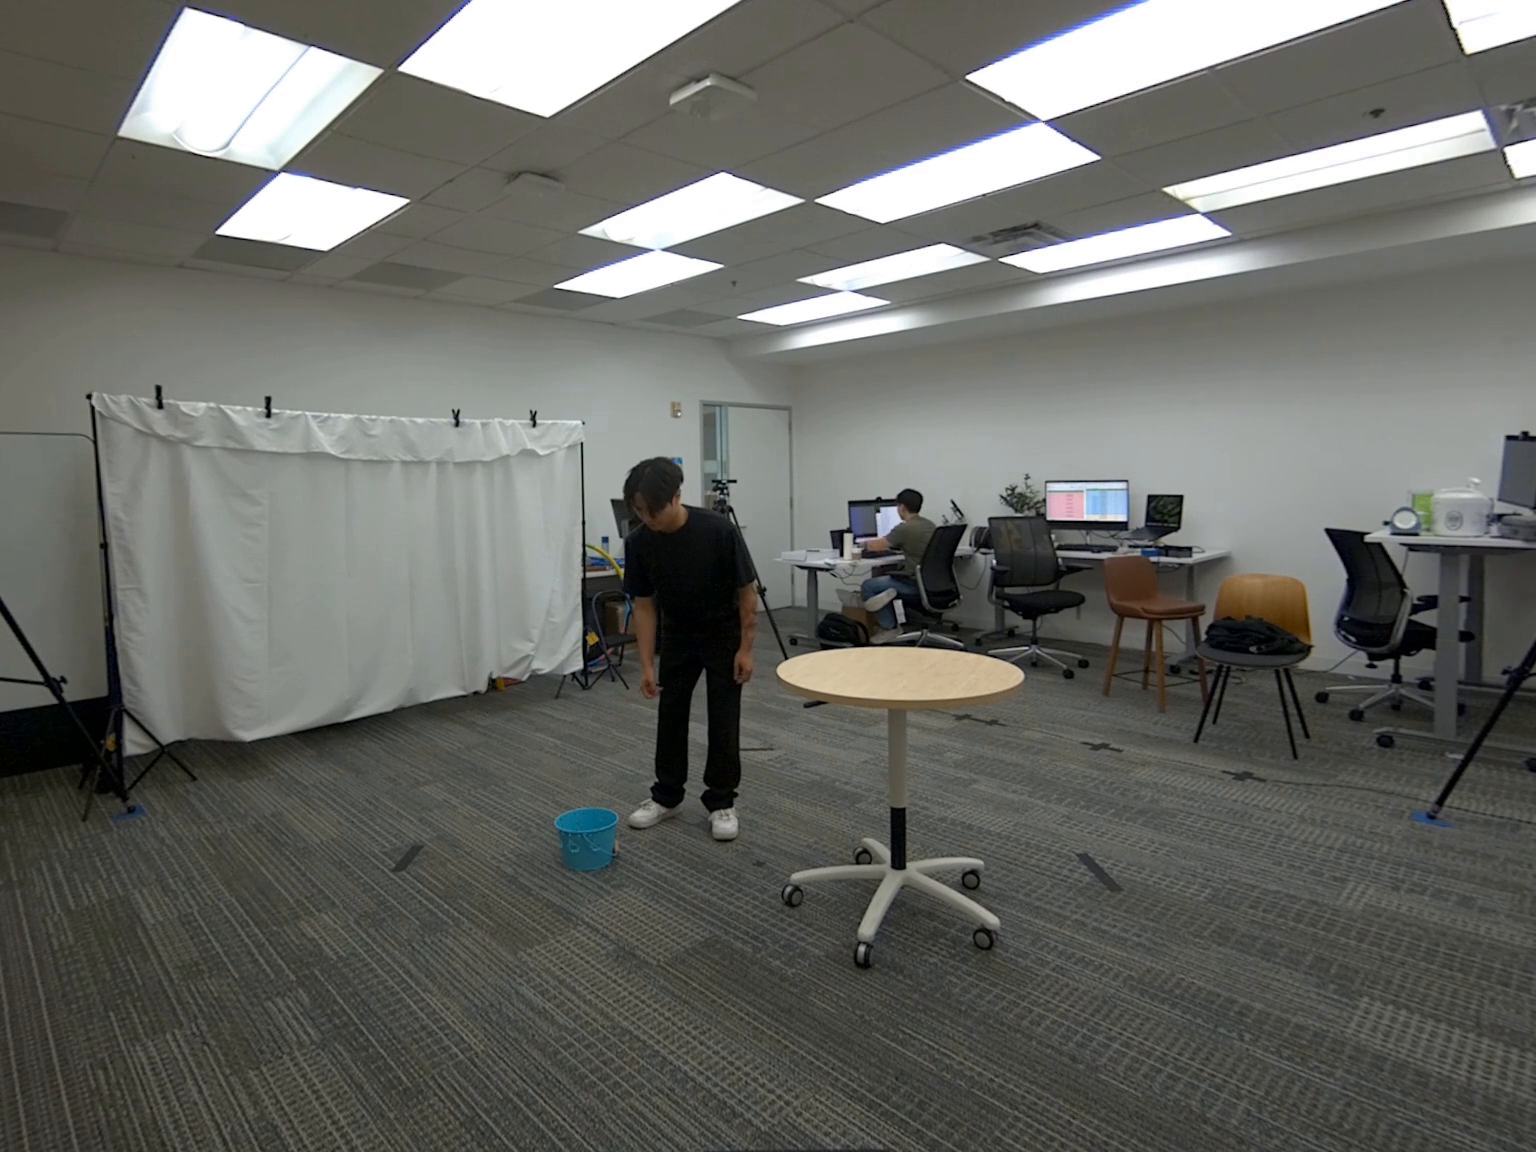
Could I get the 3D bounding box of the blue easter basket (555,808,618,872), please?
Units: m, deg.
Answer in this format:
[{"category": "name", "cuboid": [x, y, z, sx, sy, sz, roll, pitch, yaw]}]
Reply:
[{"category": "blue easter basket", "cuboid": [-0.663, 0.973, 3.162, 0.243, 0.155, 0.245, -1, 5, -2]}]
